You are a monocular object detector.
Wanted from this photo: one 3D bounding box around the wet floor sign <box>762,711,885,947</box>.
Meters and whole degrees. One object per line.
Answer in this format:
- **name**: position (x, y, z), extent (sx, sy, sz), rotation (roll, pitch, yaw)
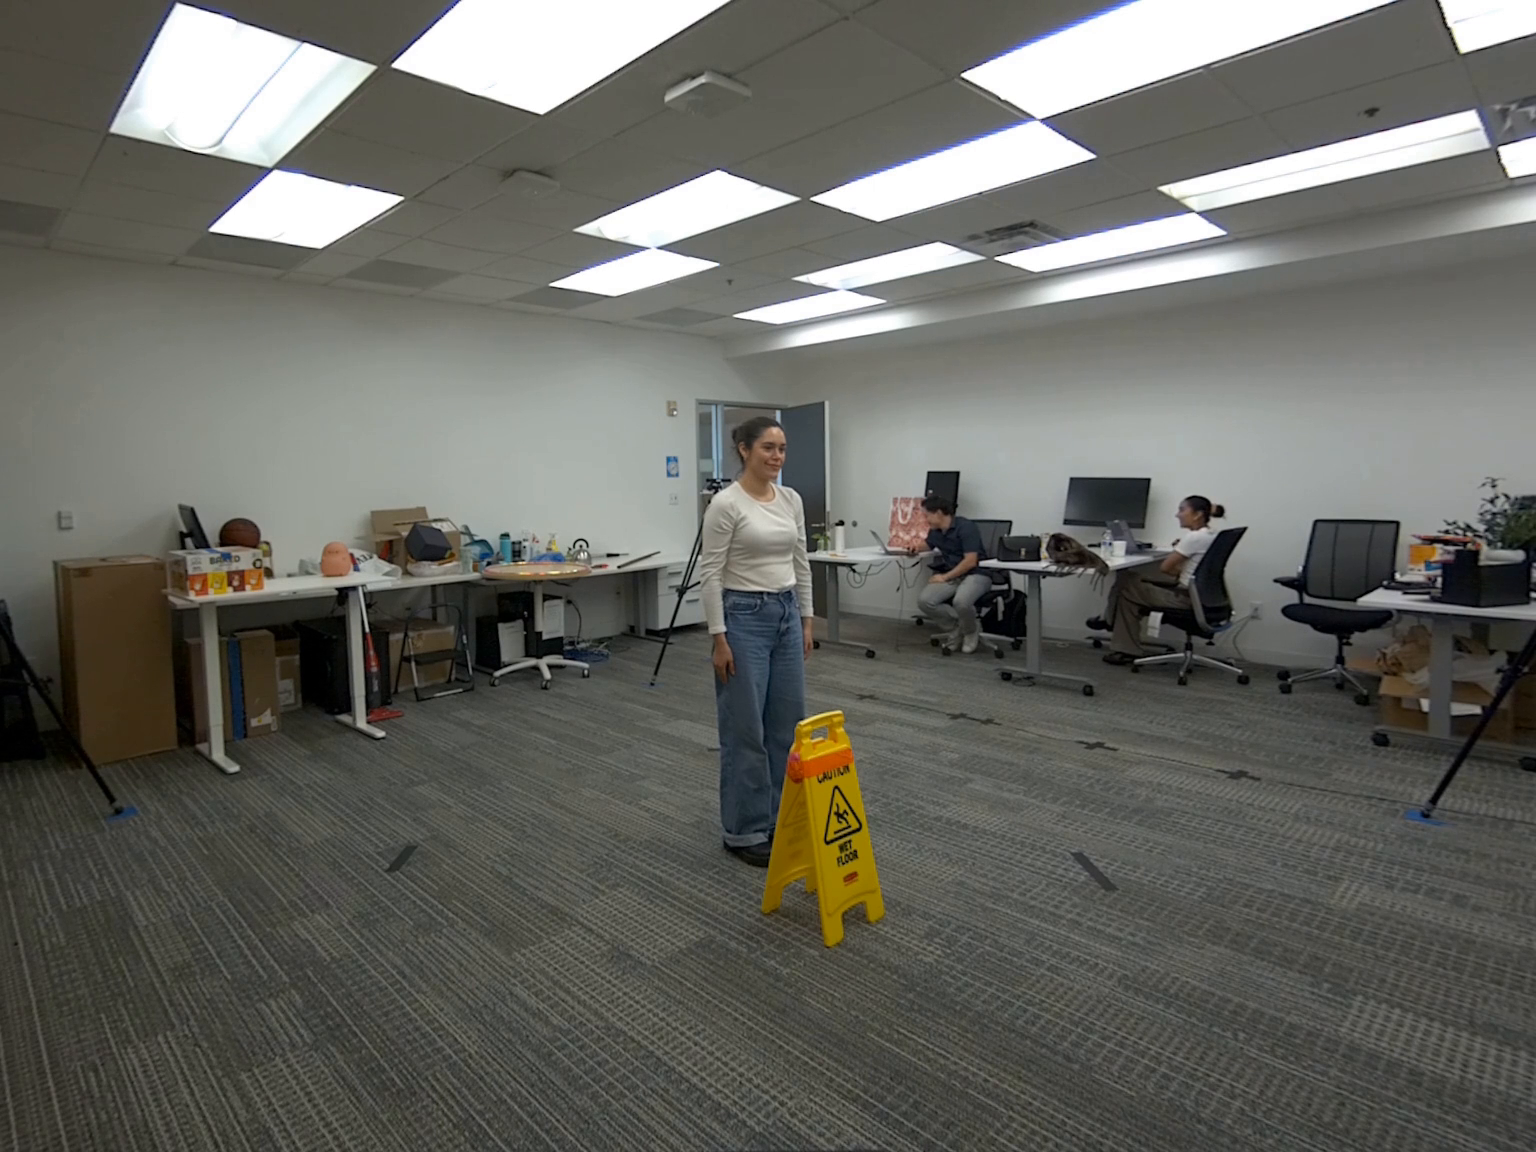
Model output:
- **wet floor sign**: position (0.166, 0.763, 2.716), extent (0.275, 0.644, 0.298), rotation (-4, 5, -43)
